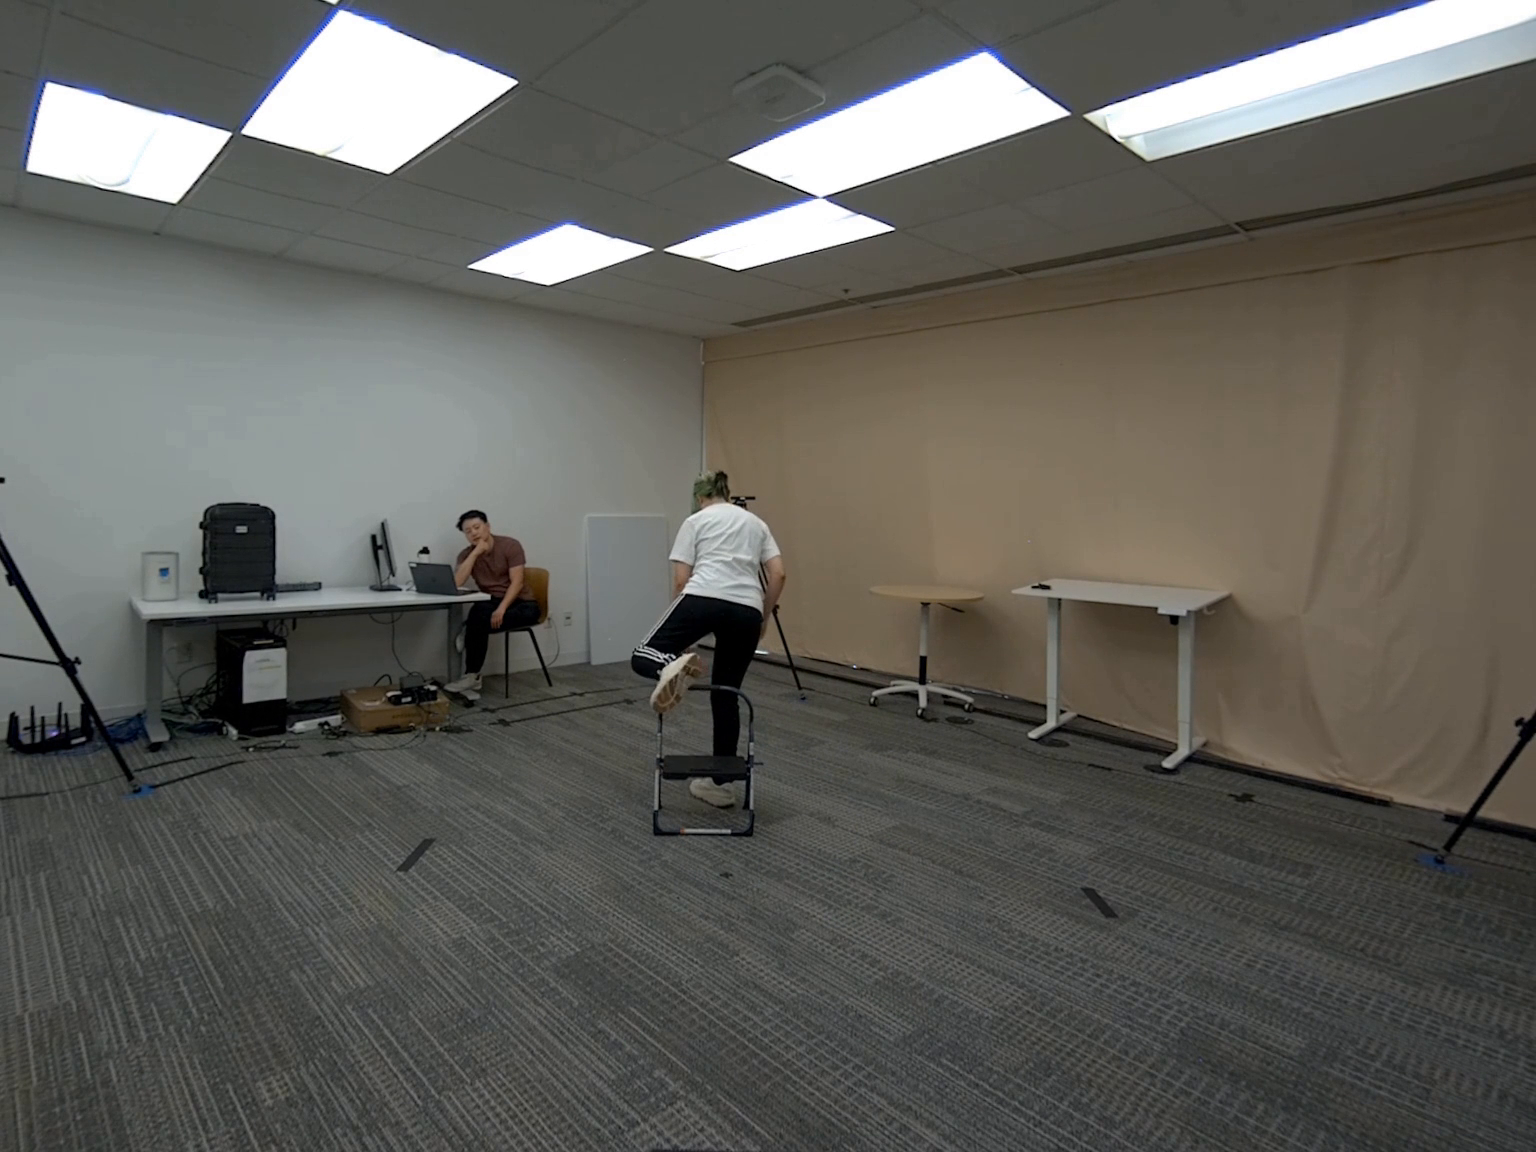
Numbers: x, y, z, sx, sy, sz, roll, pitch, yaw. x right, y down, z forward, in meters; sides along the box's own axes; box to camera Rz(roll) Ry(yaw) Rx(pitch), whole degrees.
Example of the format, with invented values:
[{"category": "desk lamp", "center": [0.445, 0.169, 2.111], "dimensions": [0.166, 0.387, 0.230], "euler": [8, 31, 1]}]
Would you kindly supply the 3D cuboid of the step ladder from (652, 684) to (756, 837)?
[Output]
[{"category": "step ladder", "center": [-0.279, 0.755, 3.615], "dimensions": [0.429, 0.605, 0.351], "euler": [2, 3, -4]}]
